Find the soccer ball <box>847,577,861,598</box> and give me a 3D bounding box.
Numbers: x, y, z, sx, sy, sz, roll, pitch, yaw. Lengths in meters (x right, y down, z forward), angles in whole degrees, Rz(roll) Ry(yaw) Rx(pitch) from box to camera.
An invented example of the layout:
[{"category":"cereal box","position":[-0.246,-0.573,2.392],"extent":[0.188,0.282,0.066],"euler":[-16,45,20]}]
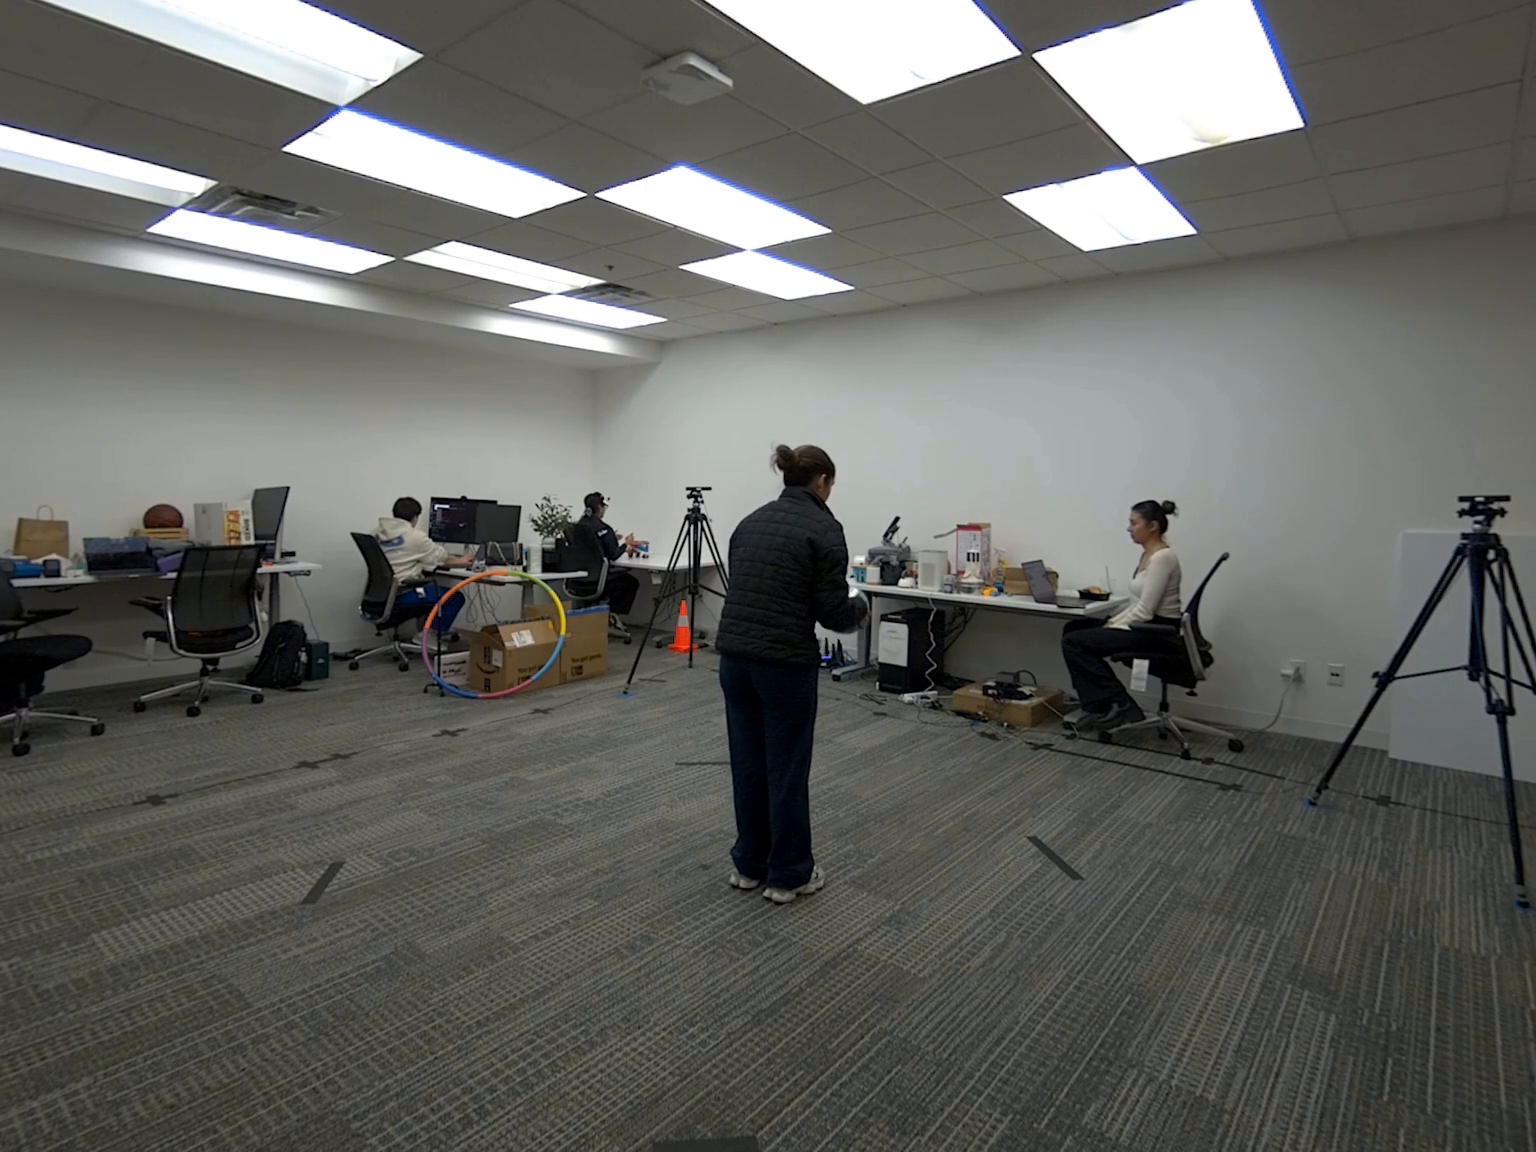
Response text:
[{"category":"soccer ball","position":[0.264,0.134,3.148],"extent":[0.187,0.187,0.188],"euler":[1,4,-2]}]
